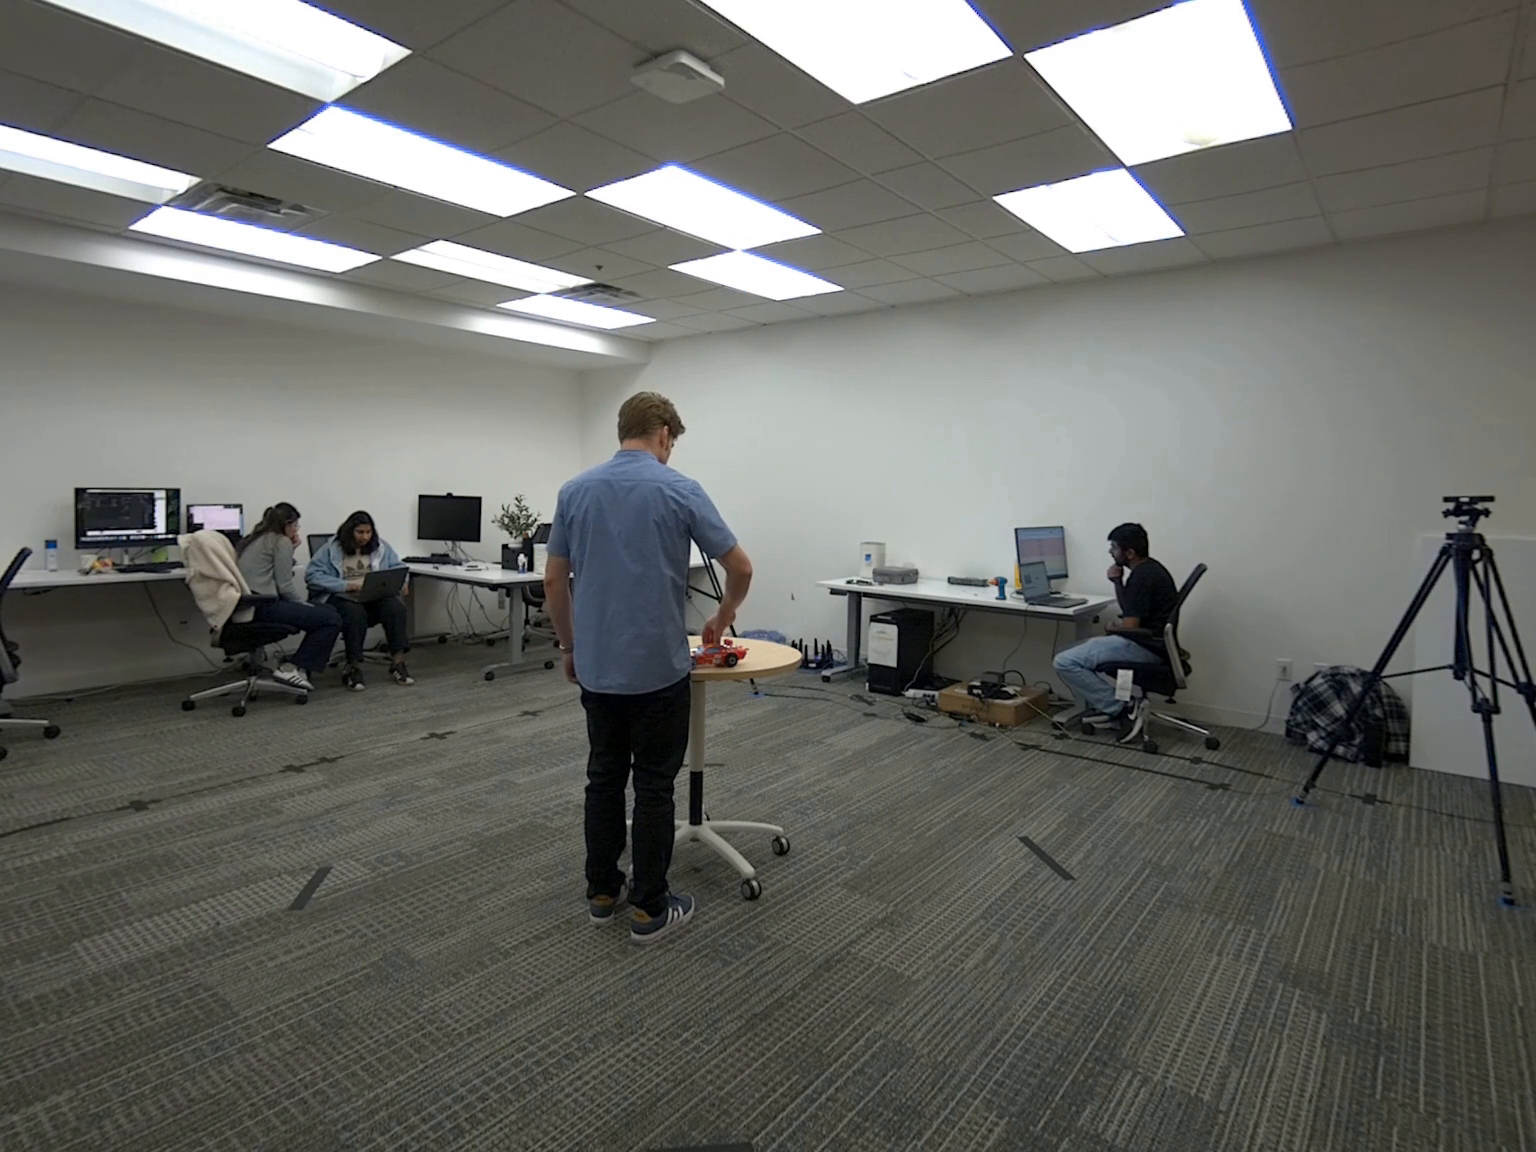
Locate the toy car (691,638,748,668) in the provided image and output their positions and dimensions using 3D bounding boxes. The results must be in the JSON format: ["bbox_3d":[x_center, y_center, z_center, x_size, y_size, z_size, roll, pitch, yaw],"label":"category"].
[{"bbox_3d":[-0.193,0.272,2.897,0.251,0.082,0.133,-14,8,-20],"label":"toy car"}]
